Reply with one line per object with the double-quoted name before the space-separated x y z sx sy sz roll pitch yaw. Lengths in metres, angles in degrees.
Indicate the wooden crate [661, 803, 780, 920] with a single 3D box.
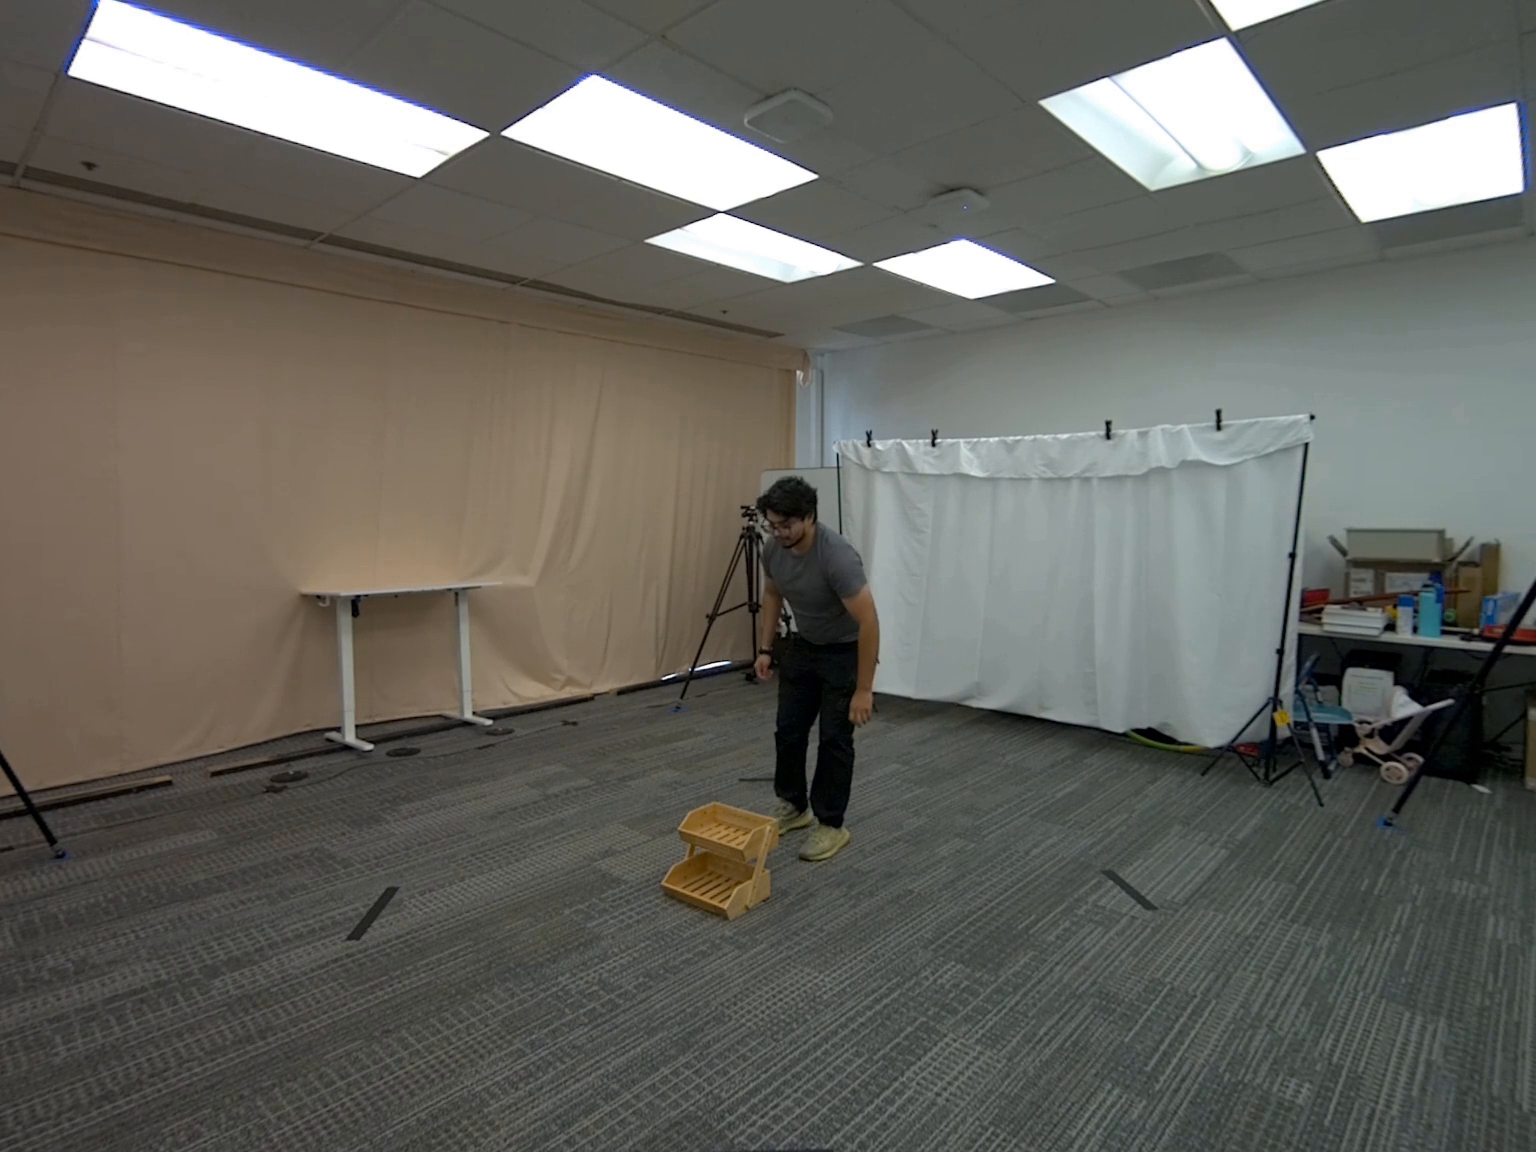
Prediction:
"wooden crate" -0.169 1.008 3.017 0.335 0.273 0.293 3 5 38
